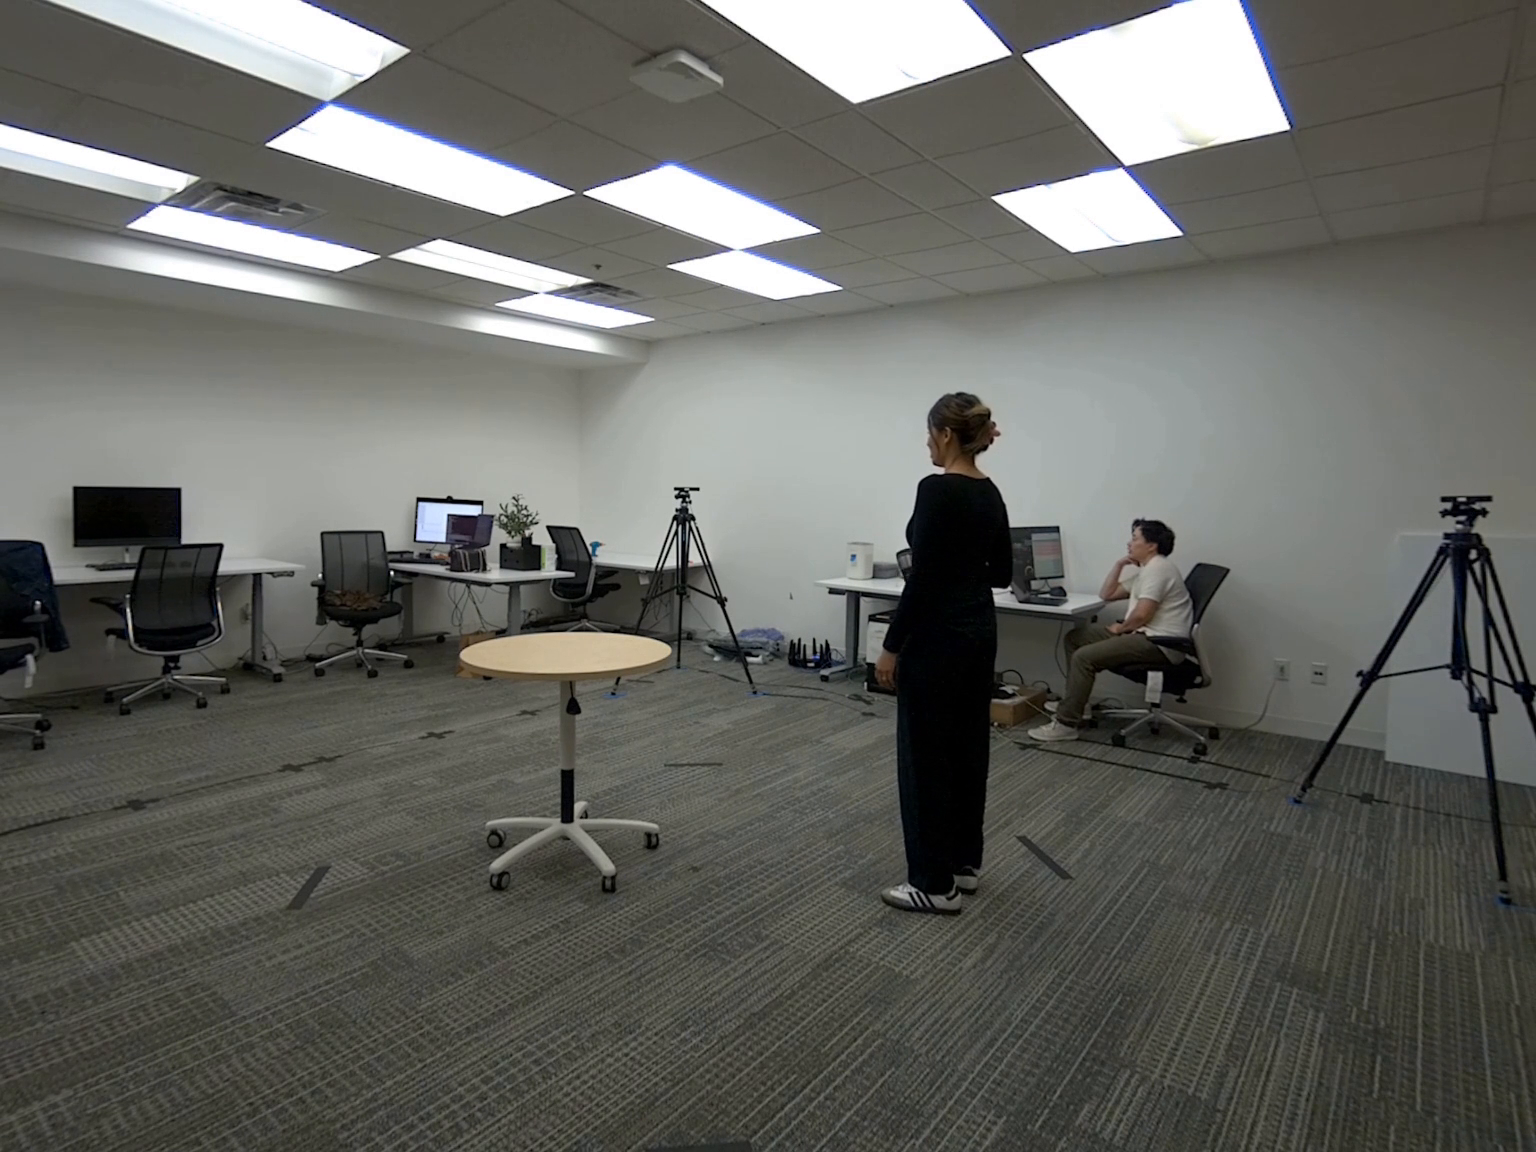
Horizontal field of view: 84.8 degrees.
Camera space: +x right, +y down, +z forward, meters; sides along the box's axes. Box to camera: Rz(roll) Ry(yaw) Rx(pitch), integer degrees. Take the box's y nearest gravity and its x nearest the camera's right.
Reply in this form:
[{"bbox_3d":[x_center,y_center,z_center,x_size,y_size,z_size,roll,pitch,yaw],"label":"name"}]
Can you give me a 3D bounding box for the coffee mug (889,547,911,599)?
[{"bbox_3d":[0.563,-0.001,3.230,0.085,0.207,0.123,5,-23,-38],"label":"coffee mug"}]
